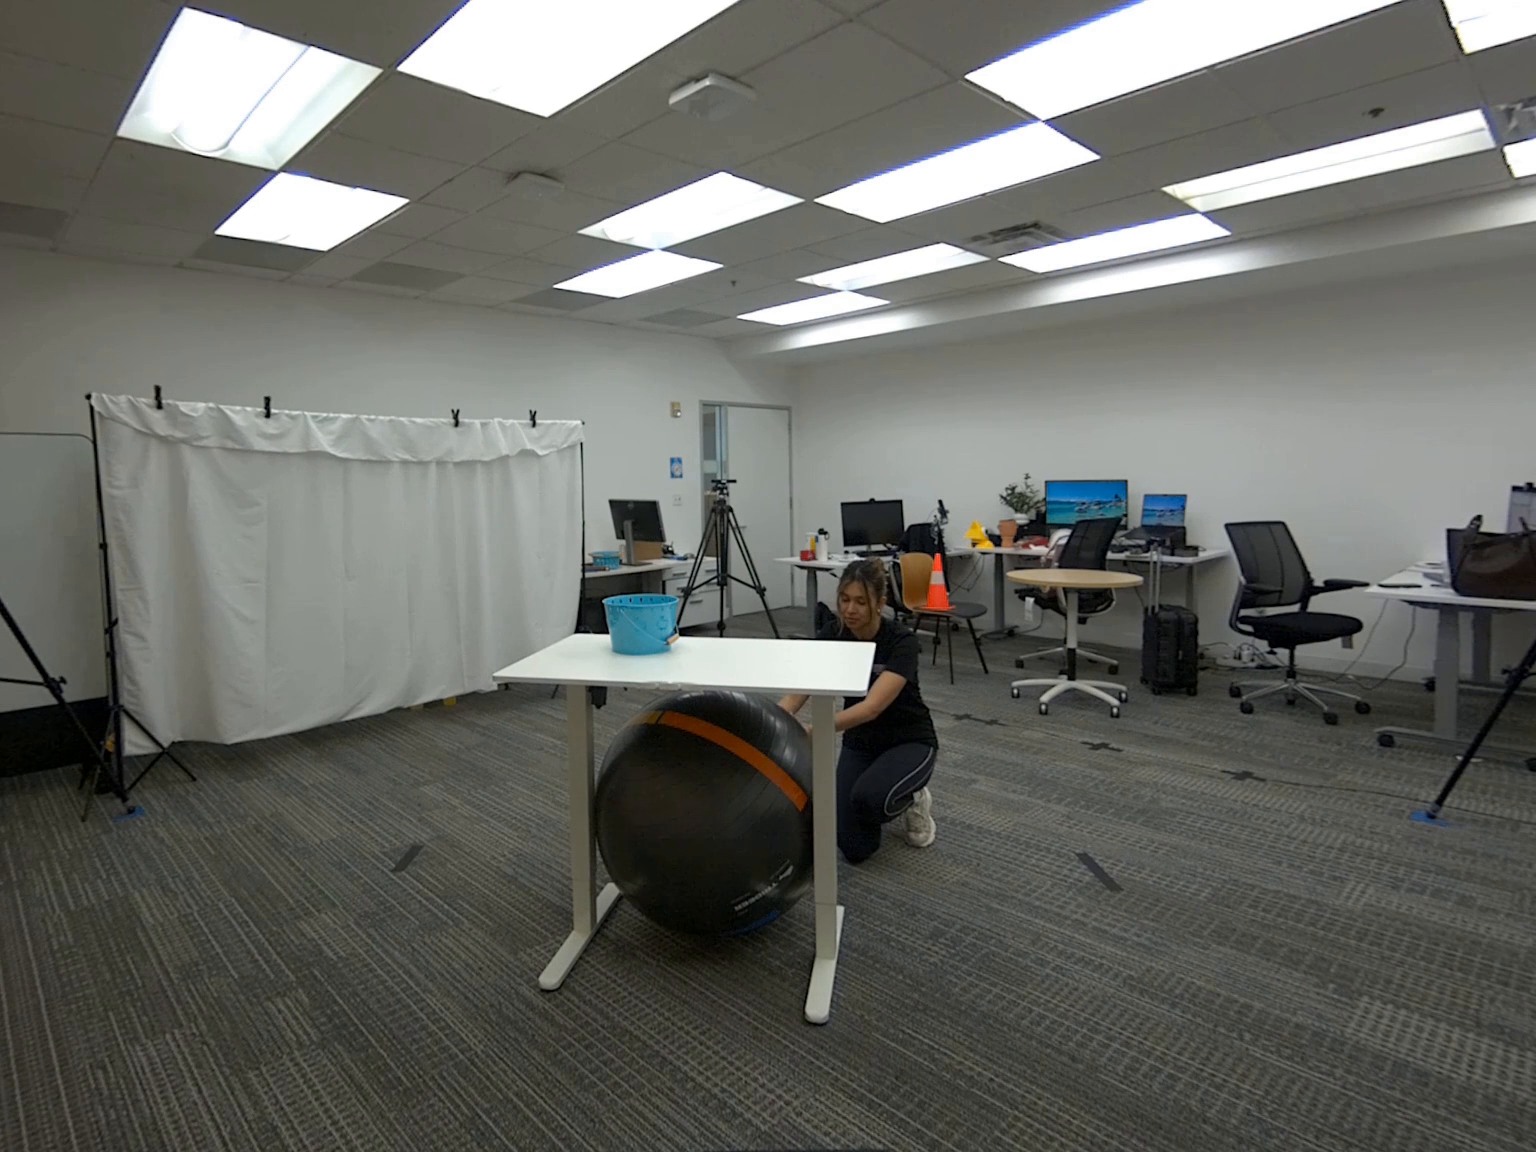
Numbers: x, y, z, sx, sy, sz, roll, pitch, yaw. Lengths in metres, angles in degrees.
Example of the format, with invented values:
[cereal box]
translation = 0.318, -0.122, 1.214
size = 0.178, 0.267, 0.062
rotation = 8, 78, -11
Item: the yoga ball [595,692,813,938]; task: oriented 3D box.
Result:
[yoga ball]
translation = -0.172, 0.747, 2.695
size = 0.757, 0.755, 0.762
rotation = -1, 5, -2
